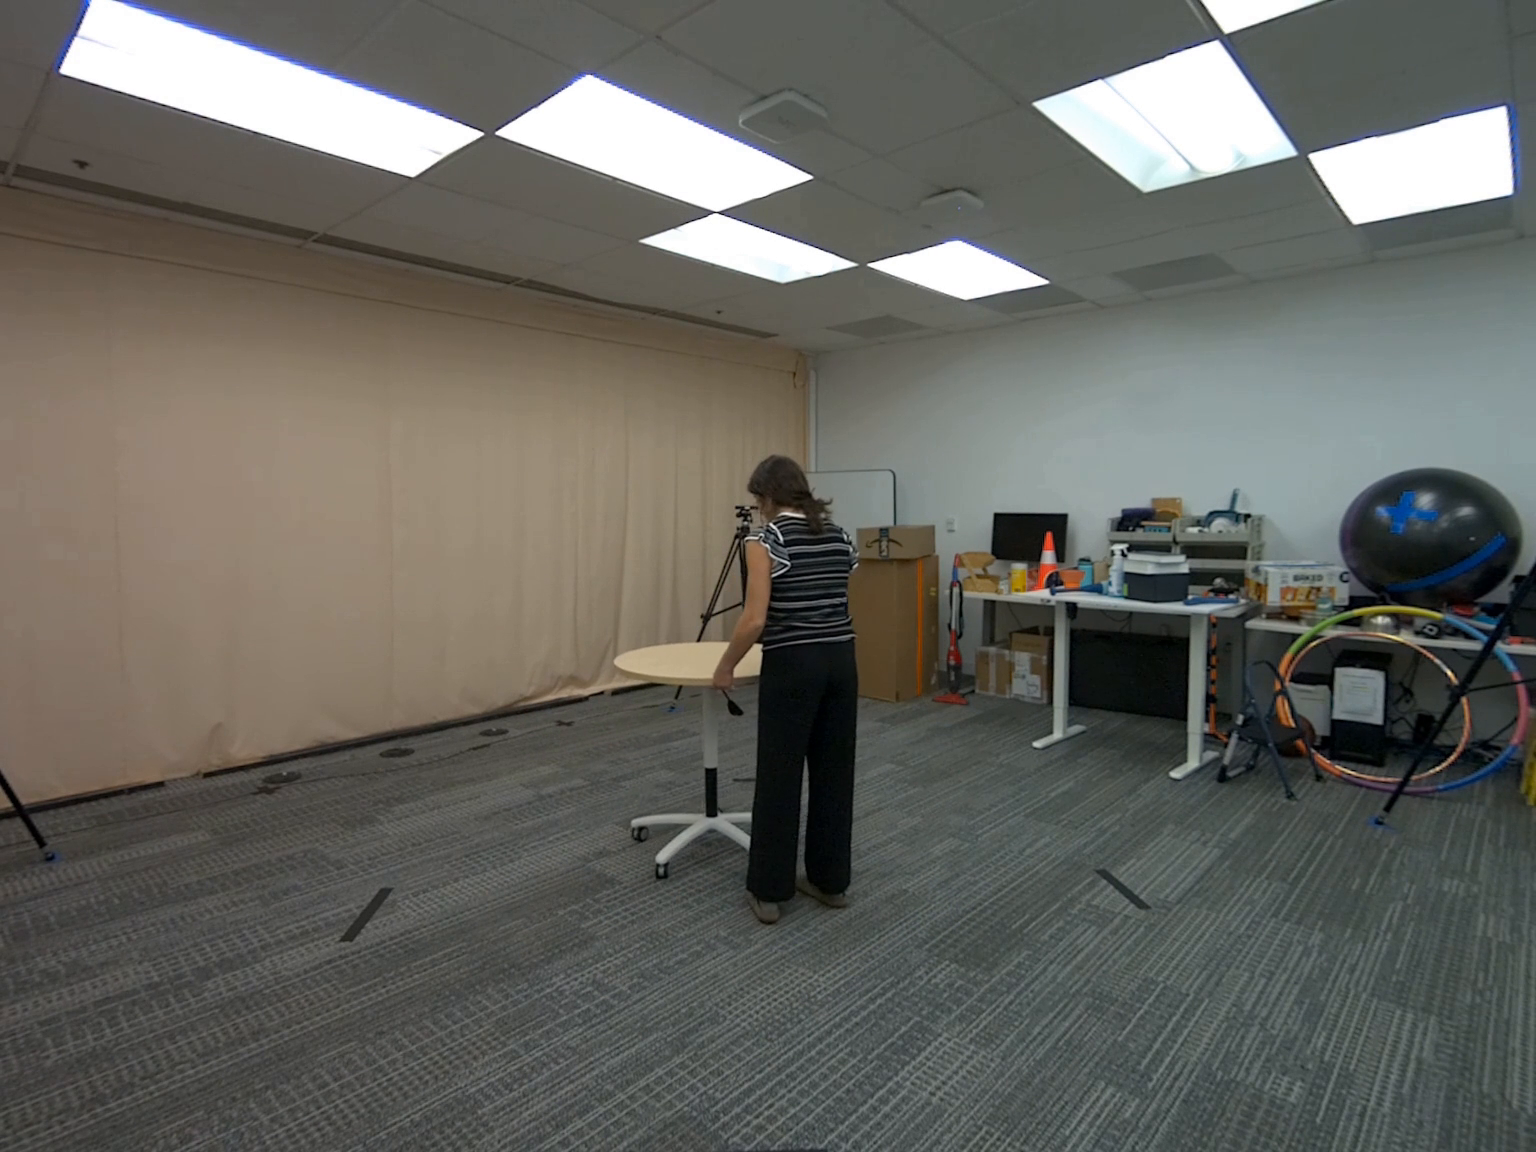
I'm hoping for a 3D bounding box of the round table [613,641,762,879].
[{"bbox_3d":[-0.220,0.715,3.383,0.784,0.785,0.787,-1,3,-2],"label":"round table"}]
